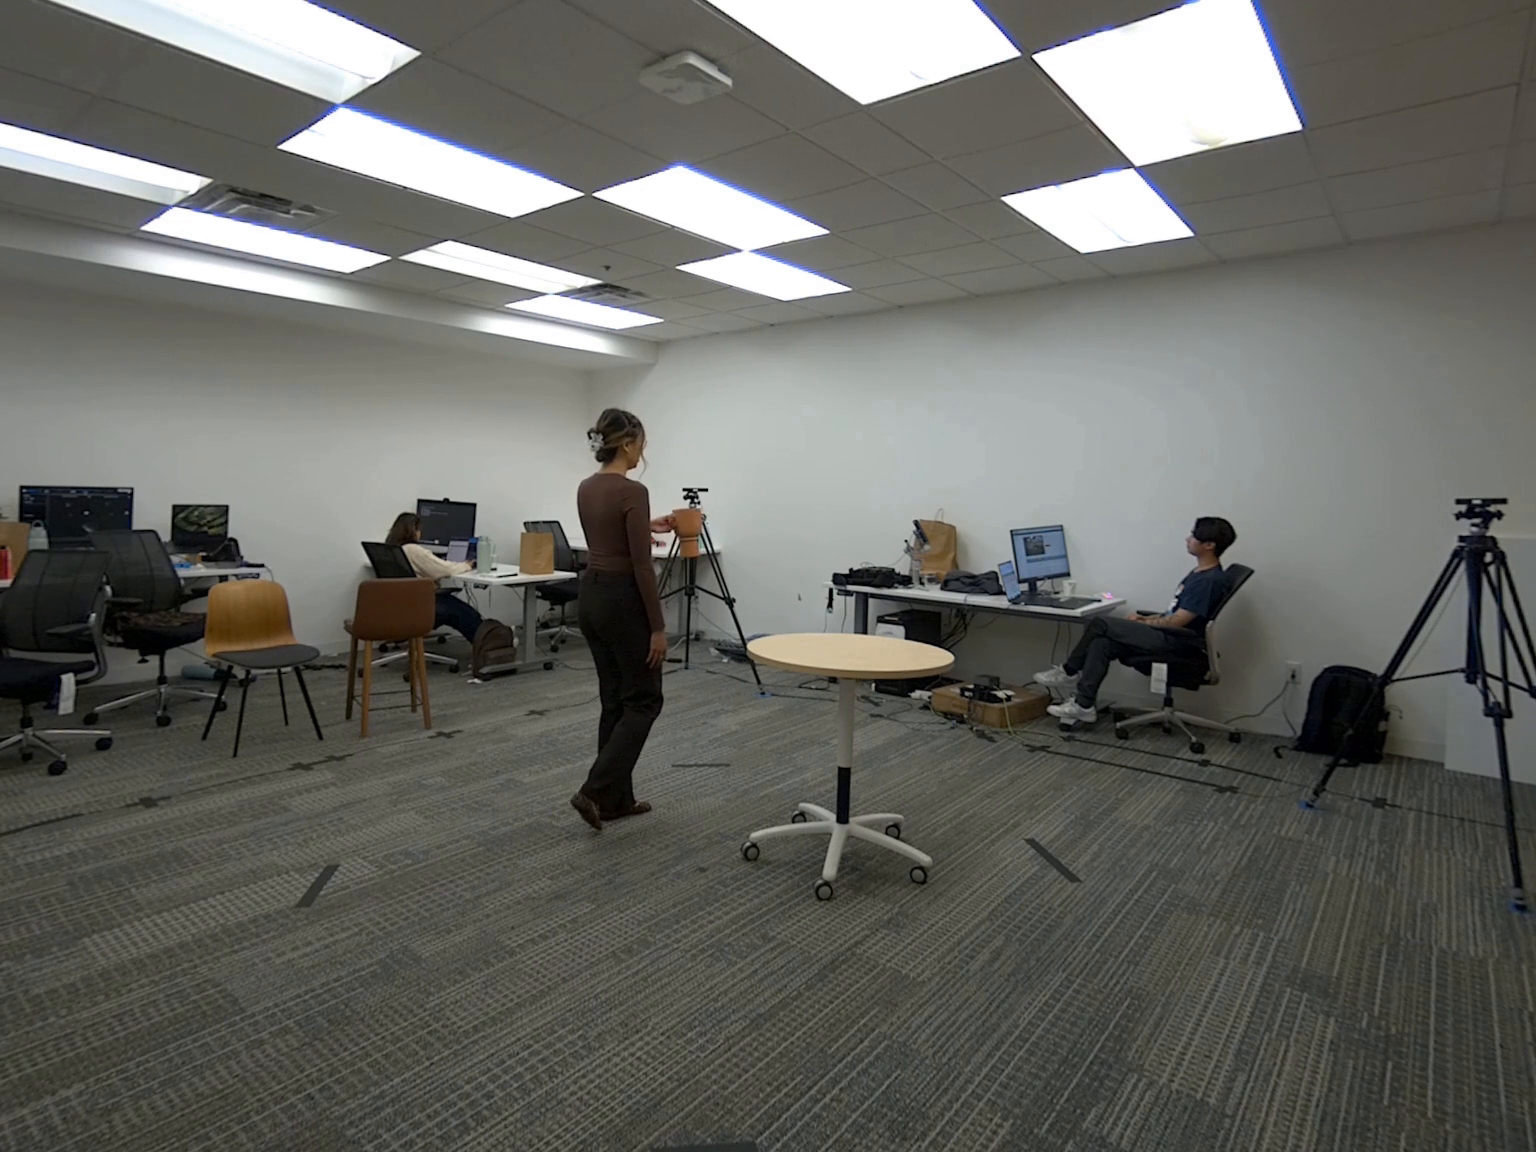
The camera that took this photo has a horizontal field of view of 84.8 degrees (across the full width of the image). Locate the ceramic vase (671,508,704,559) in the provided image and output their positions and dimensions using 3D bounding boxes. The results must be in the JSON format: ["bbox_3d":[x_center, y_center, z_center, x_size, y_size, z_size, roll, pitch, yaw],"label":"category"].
[{"bbox_3d":[-0.394,-0.205,3.940,0.160,0.219,0.134,-4,4,10],"label":"ceramic vase"}]
